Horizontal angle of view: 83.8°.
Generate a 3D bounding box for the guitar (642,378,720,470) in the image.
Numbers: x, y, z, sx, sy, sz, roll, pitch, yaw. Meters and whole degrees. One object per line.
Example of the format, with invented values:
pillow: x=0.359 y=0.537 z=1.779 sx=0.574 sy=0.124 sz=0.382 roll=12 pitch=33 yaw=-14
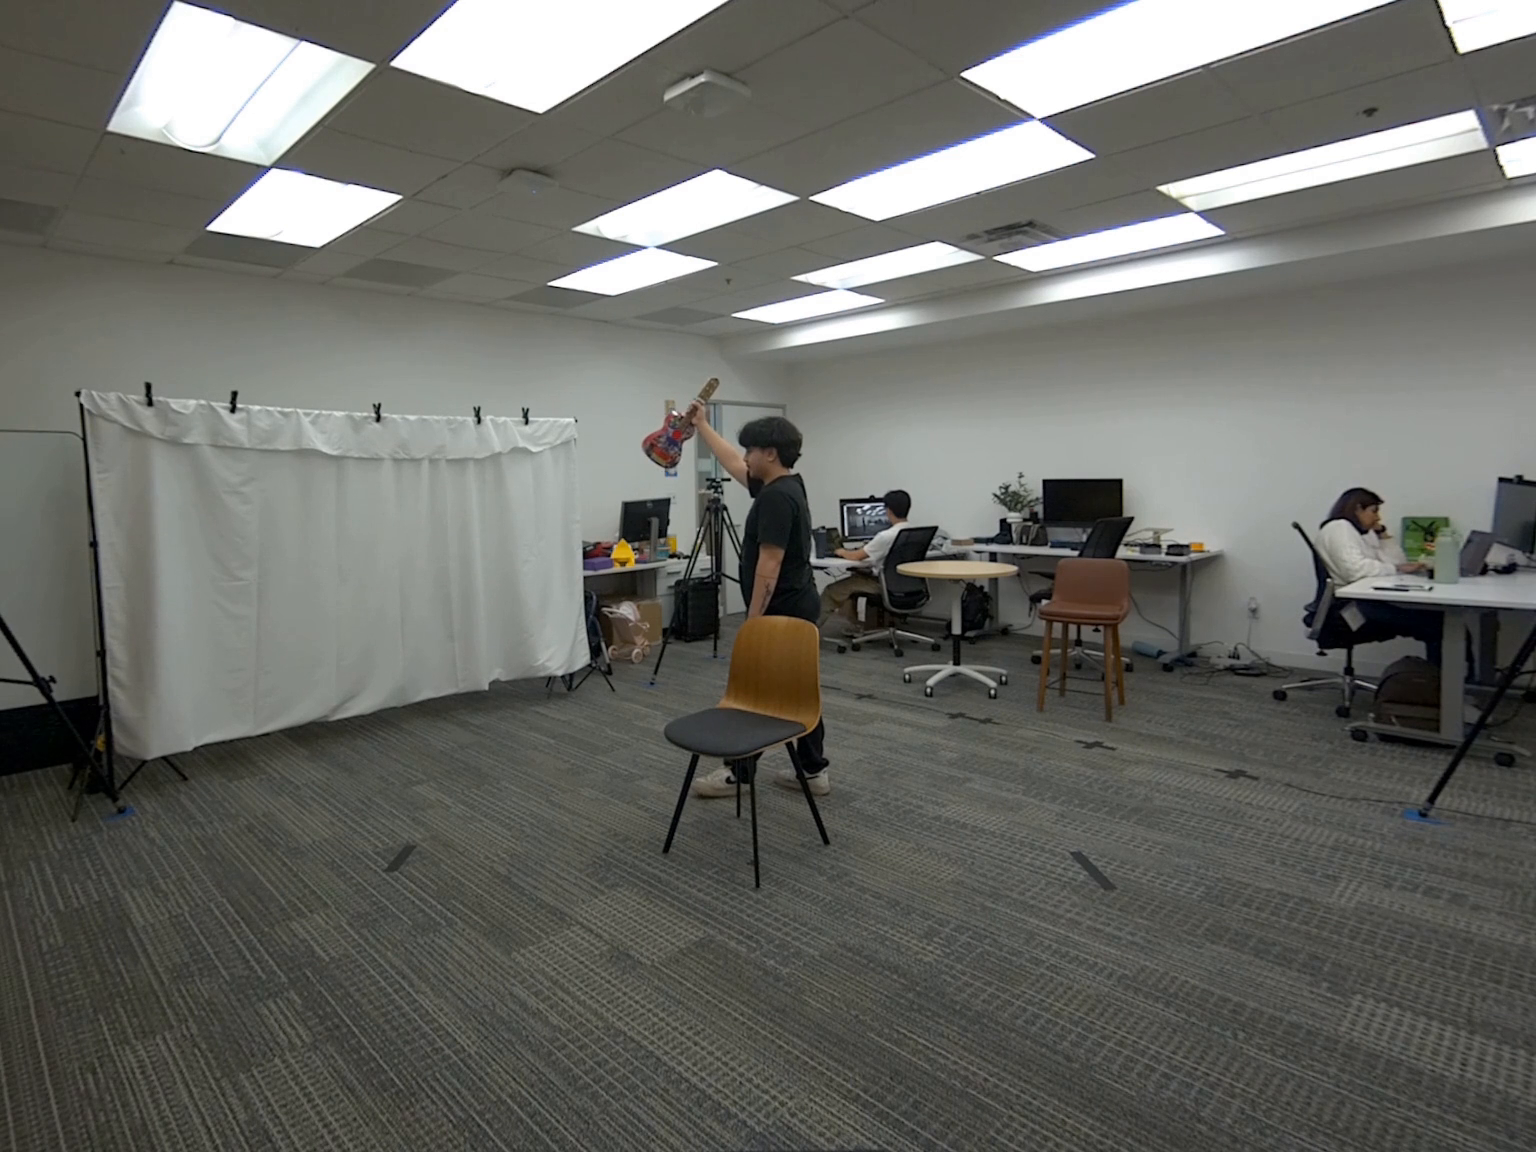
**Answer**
guitar: x=-0.387 y=-0.725 z=4.109 sx=0.187 sy=0.498 sz=0.073 roll=42 pitch=3 yaw=-27
